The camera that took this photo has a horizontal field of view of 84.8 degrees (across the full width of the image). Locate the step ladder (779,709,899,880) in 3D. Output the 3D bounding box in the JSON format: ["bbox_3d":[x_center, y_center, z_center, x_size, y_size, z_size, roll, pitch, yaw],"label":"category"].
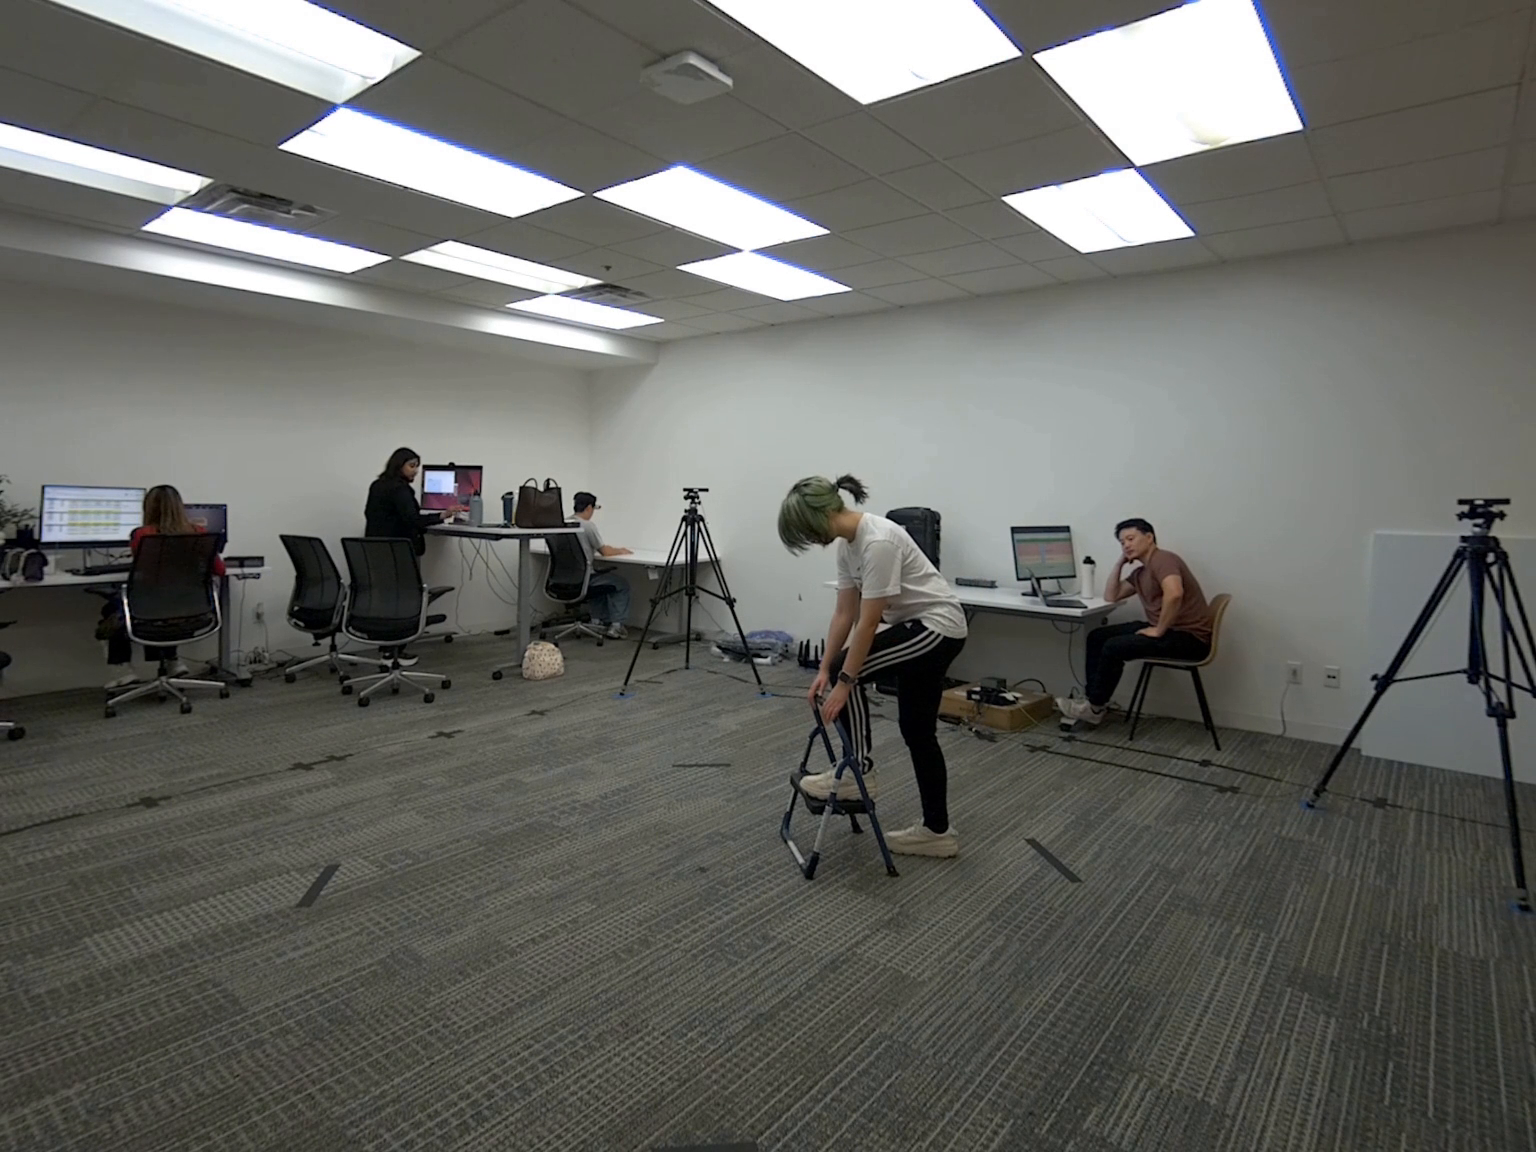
[{"bbox_3d":[0.260,0.768,3.256,0.345,0.604,0.437,1,4,-12],"label":"step ladder"}]
